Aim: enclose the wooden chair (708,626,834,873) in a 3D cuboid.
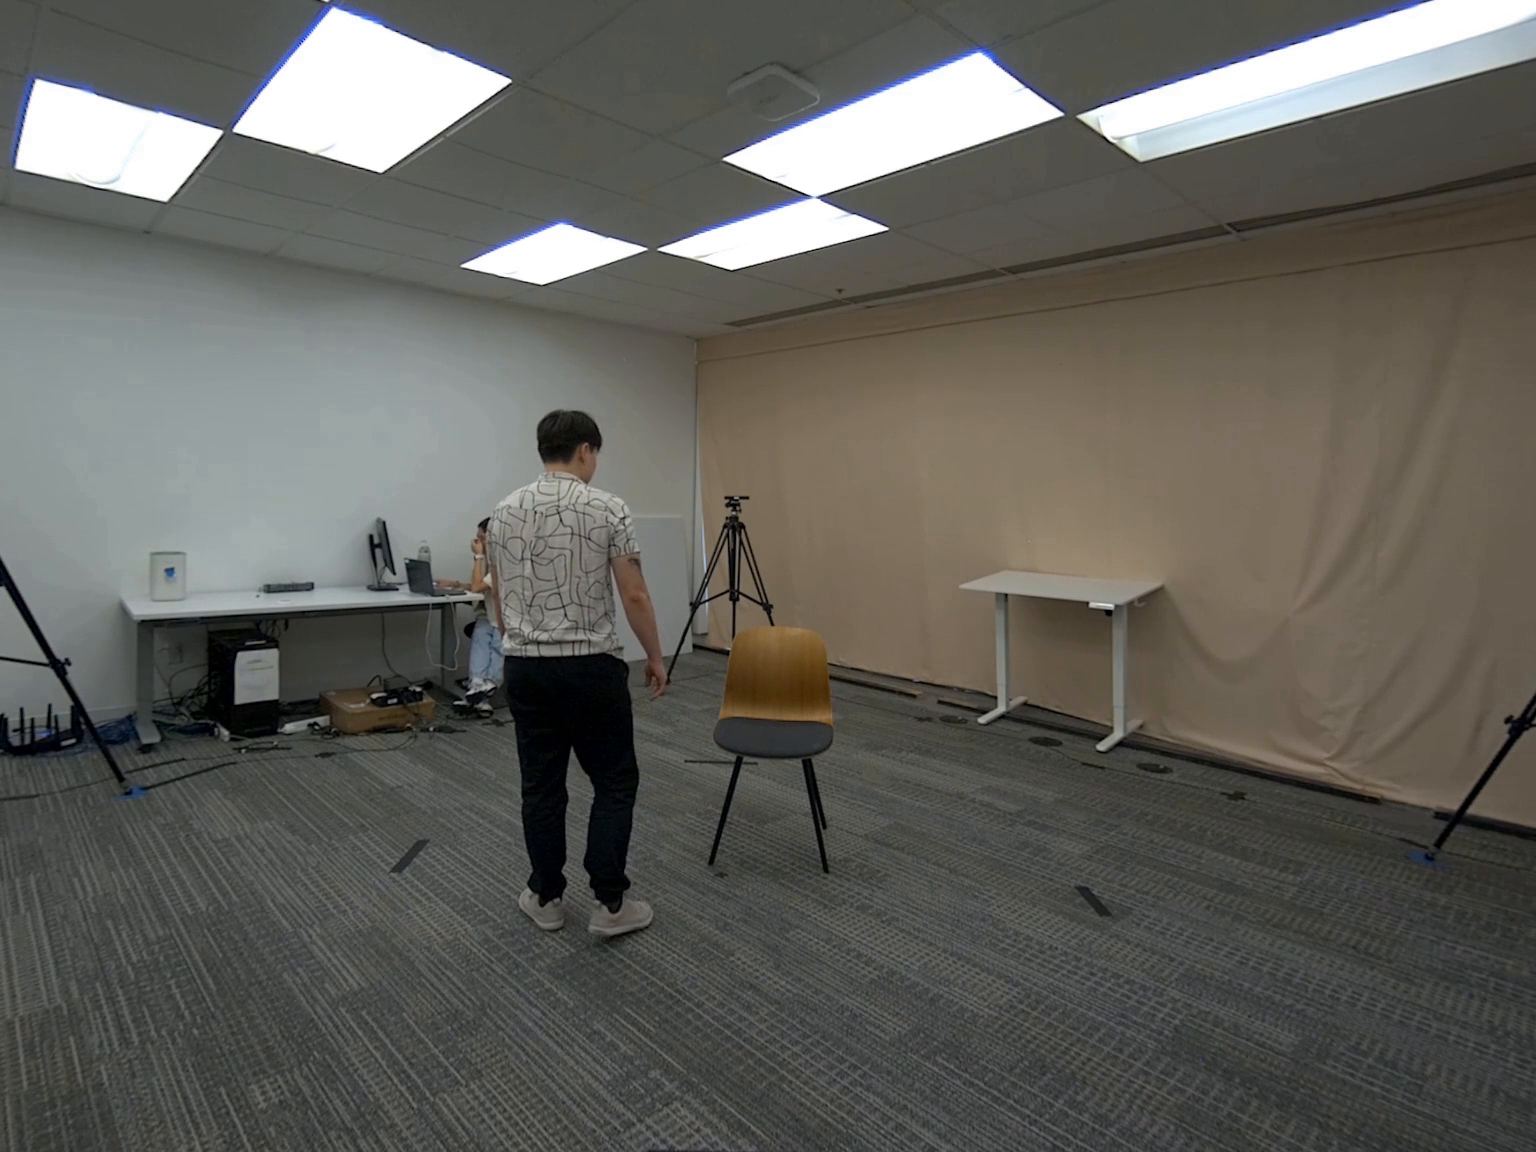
[{"bbox_3d":[0.023,0.657,3.340,0.480,0.878,0.520,2,-1,4],"label":"wooden chair"}]
